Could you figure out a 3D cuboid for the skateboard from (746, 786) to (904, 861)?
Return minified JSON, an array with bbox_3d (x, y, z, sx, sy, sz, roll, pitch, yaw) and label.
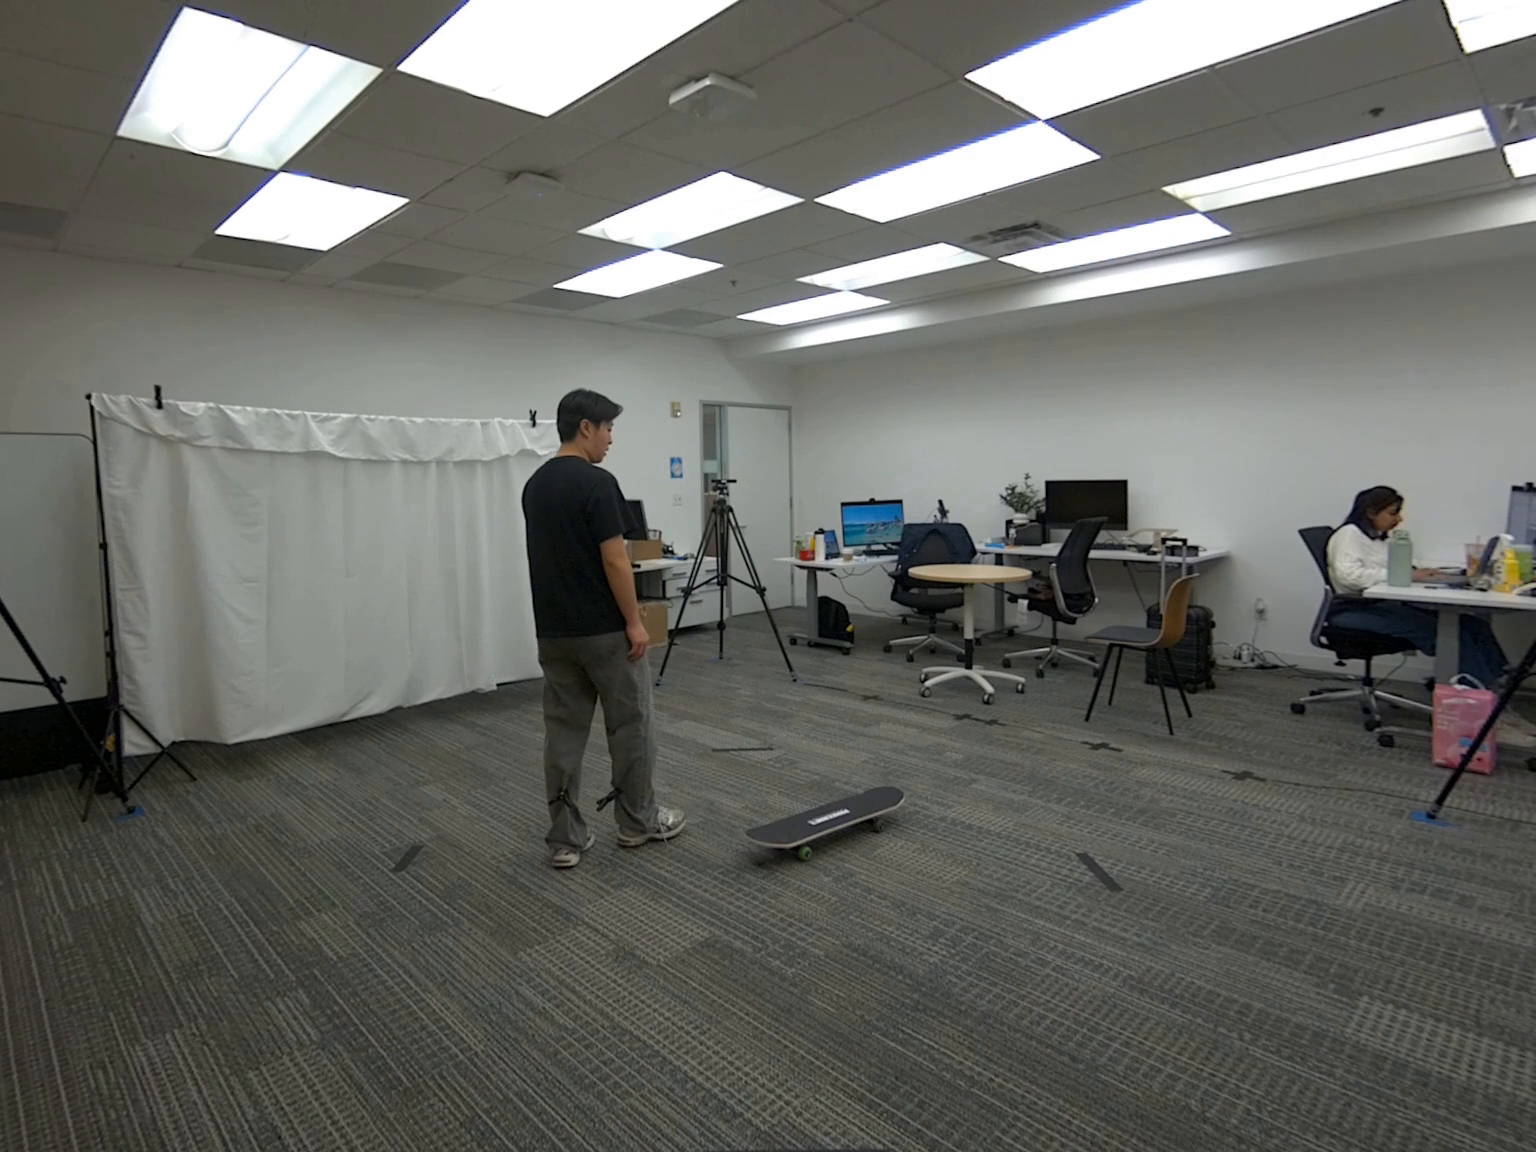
[{"bbox_3d":[0.238,0.961,3.311,0.765,0.110,0.199,-6,8,-38],"label":"skateboard"}]
